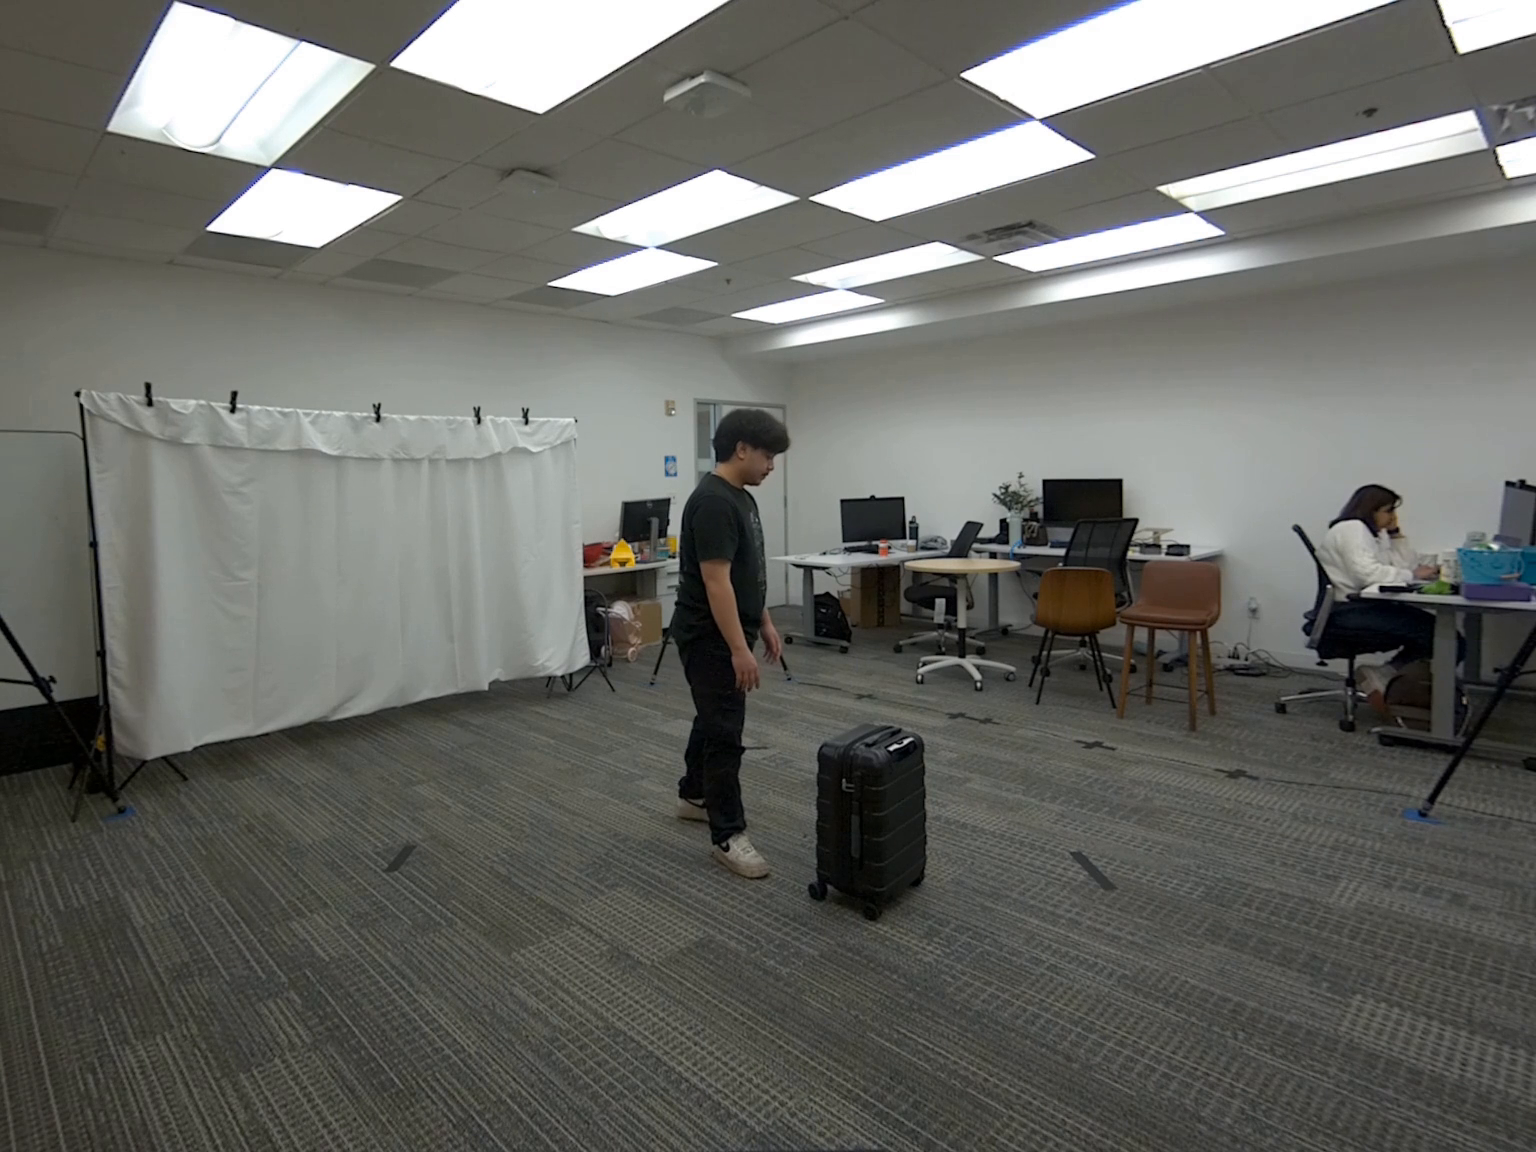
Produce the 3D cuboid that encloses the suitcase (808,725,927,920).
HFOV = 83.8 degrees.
[{"bbox_3d":[0.350,0.790,2.846,0.256,0.547,0.366,3,6,38],"label":"suitcase"}]
